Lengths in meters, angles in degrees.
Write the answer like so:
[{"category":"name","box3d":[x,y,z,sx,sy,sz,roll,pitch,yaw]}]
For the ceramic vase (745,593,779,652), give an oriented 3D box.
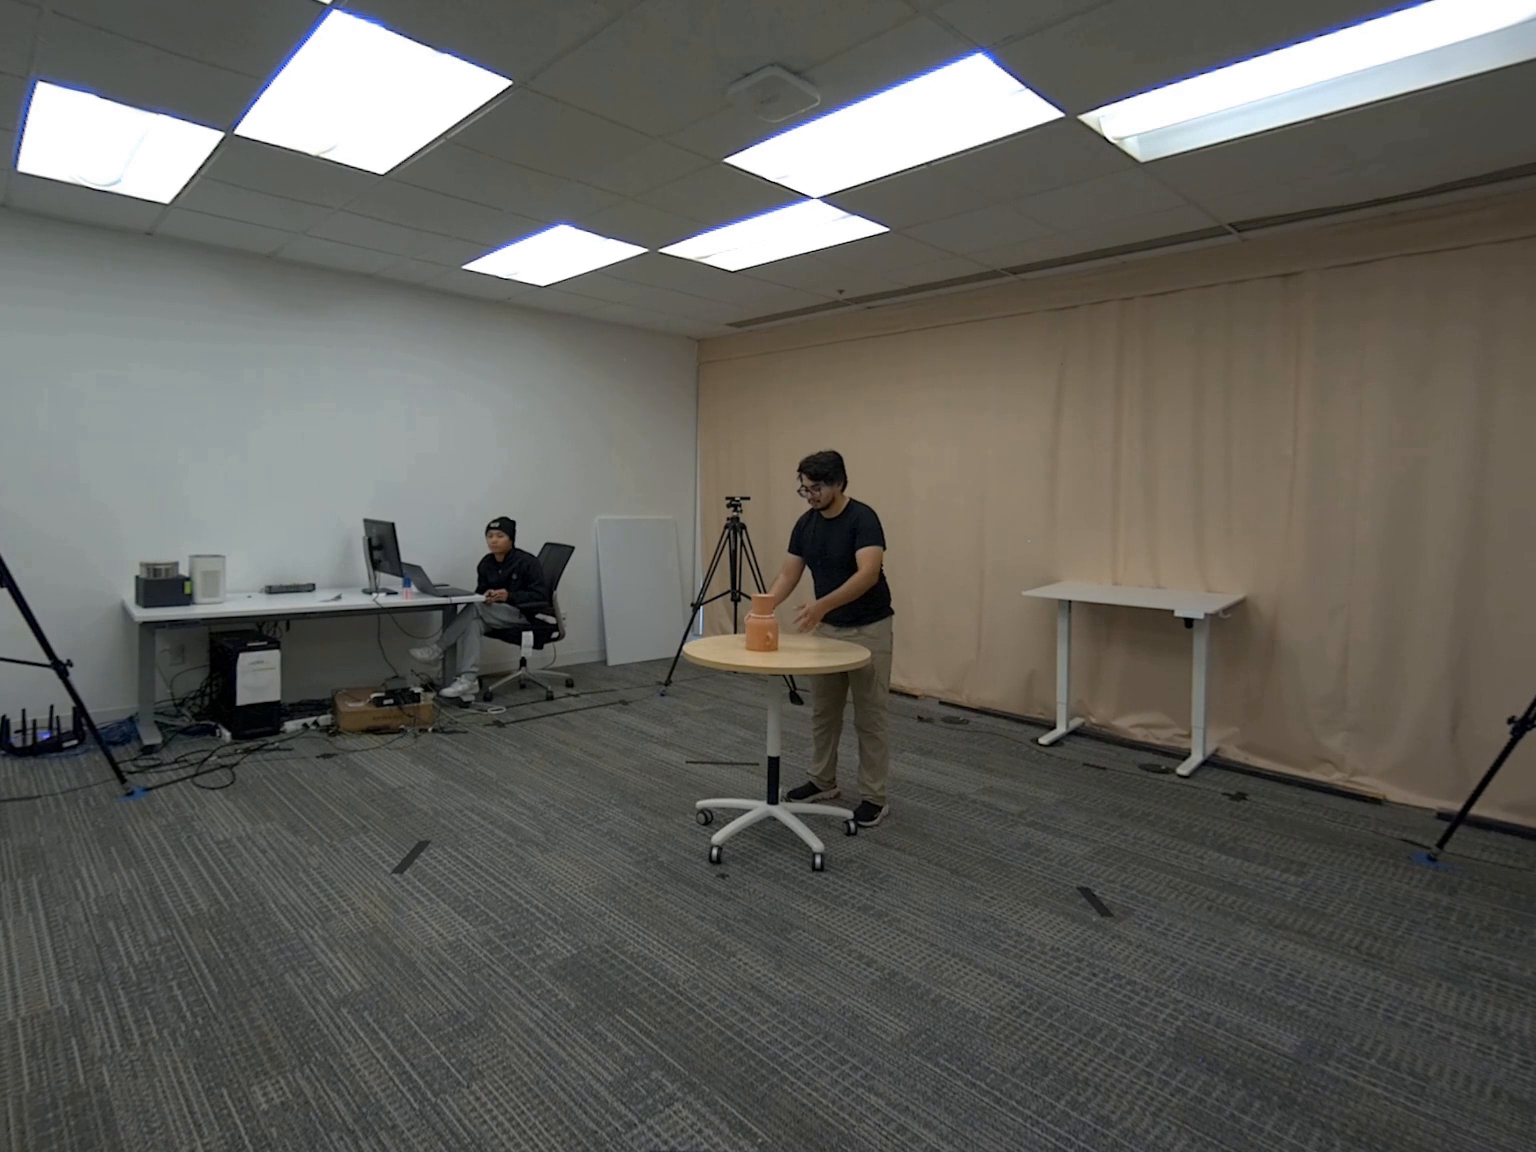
[{"category":"ceramic vase","box3d":[-0.029,0.190,3.442,0.162,0.219,0.132,4,3,29]}]
